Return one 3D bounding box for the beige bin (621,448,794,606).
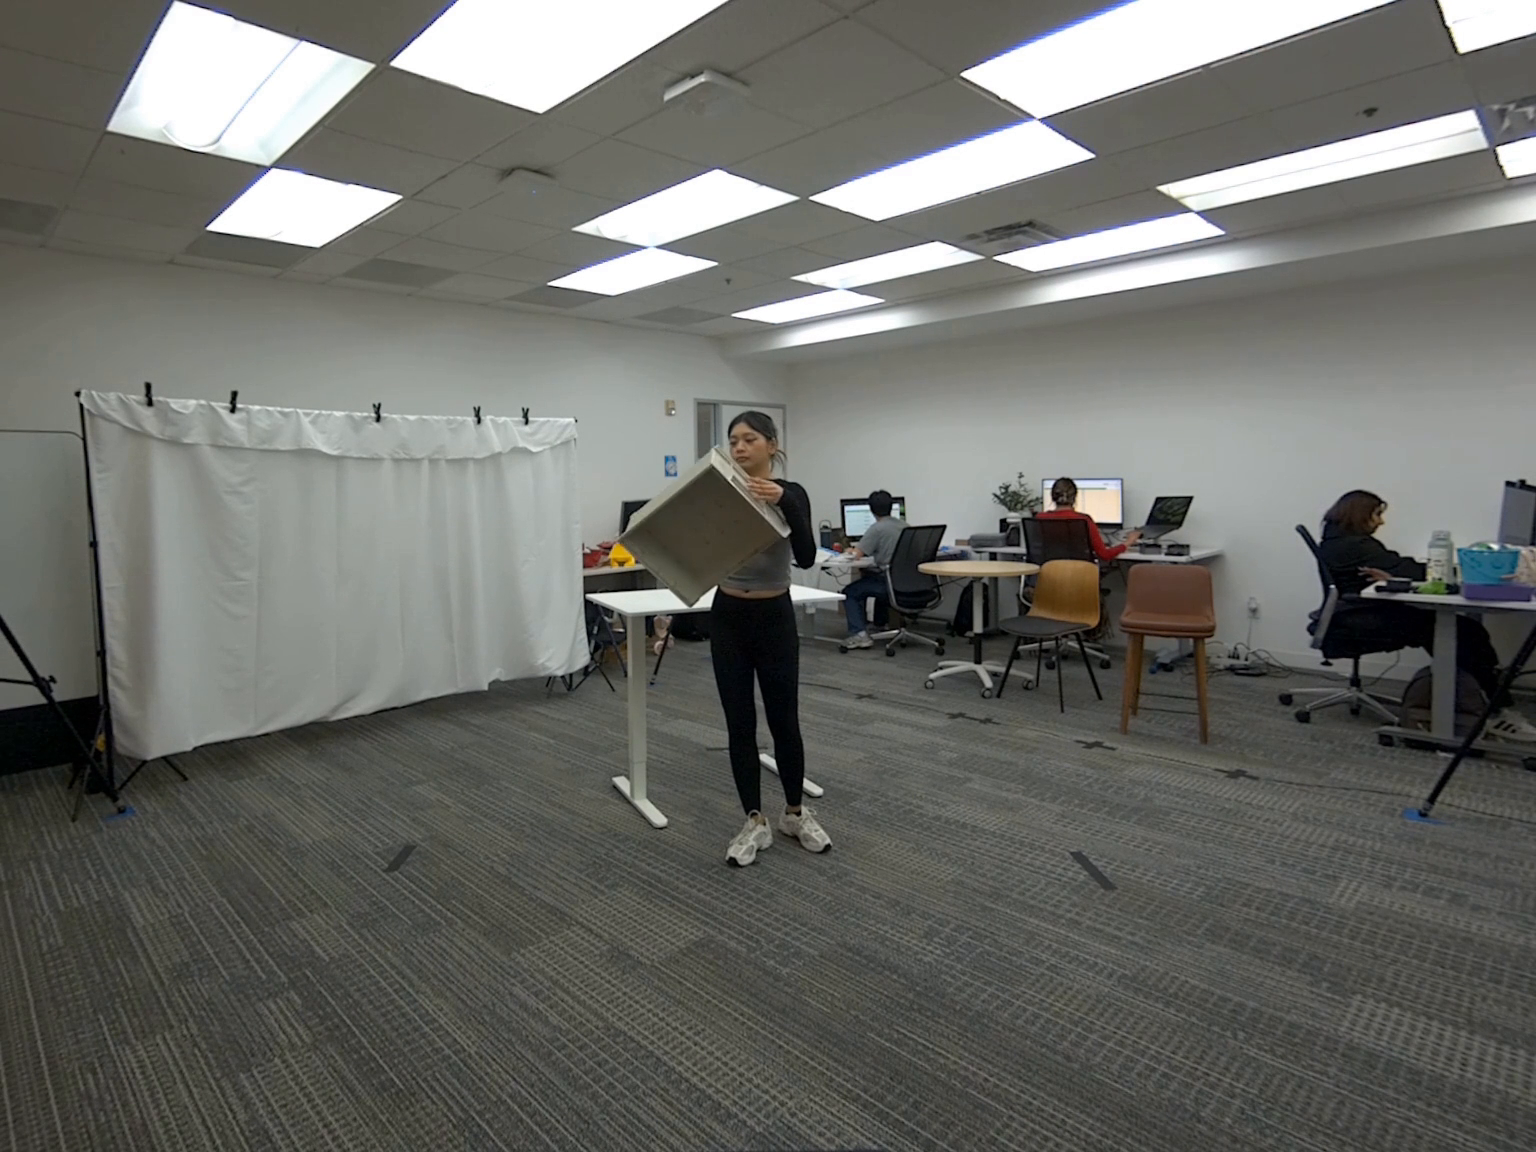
[{"bbox_3d":[-0.203,-0.153,2.811,0.424,0.368,0.192,-36,20,23],"label":"beige bin"}]
